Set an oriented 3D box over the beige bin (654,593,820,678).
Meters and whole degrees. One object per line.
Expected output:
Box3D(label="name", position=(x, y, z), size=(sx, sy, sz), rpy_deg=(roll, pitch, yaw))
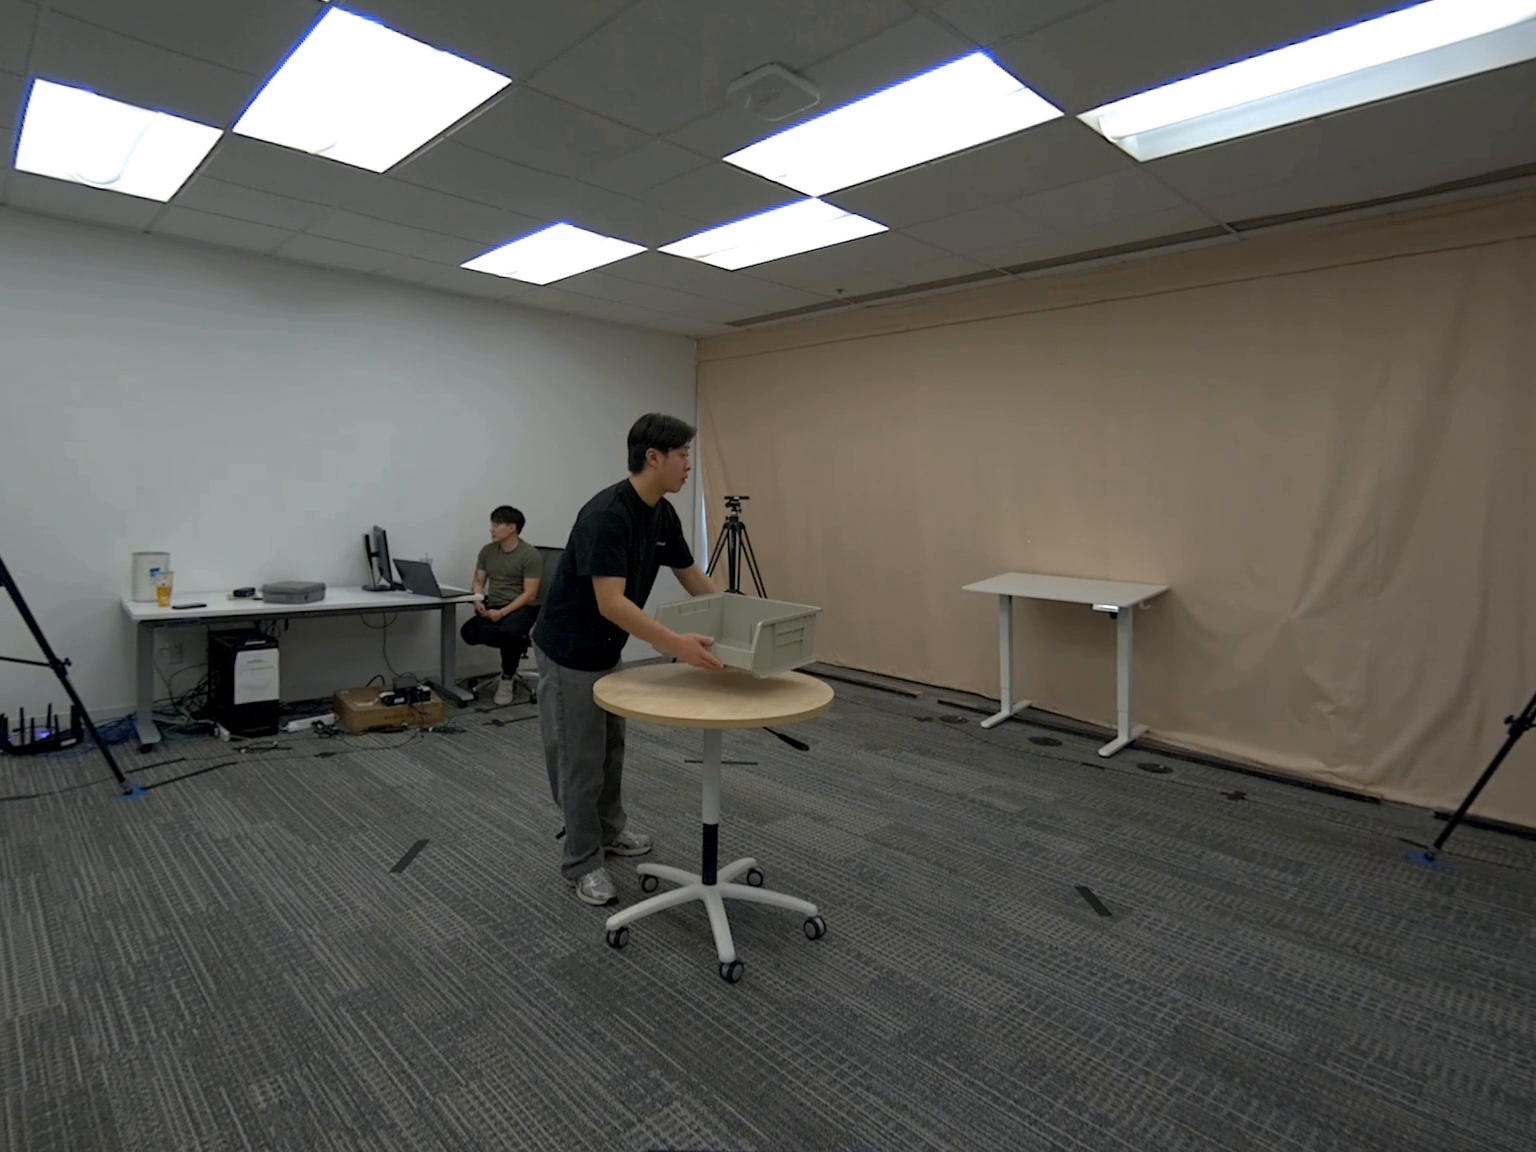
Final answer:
Box3D(label="beige bin", position=(-0.104, 0.187, 2.745), size=(0.433, 0.188, 0.370), rpy_deg=(7, 8, 34))
